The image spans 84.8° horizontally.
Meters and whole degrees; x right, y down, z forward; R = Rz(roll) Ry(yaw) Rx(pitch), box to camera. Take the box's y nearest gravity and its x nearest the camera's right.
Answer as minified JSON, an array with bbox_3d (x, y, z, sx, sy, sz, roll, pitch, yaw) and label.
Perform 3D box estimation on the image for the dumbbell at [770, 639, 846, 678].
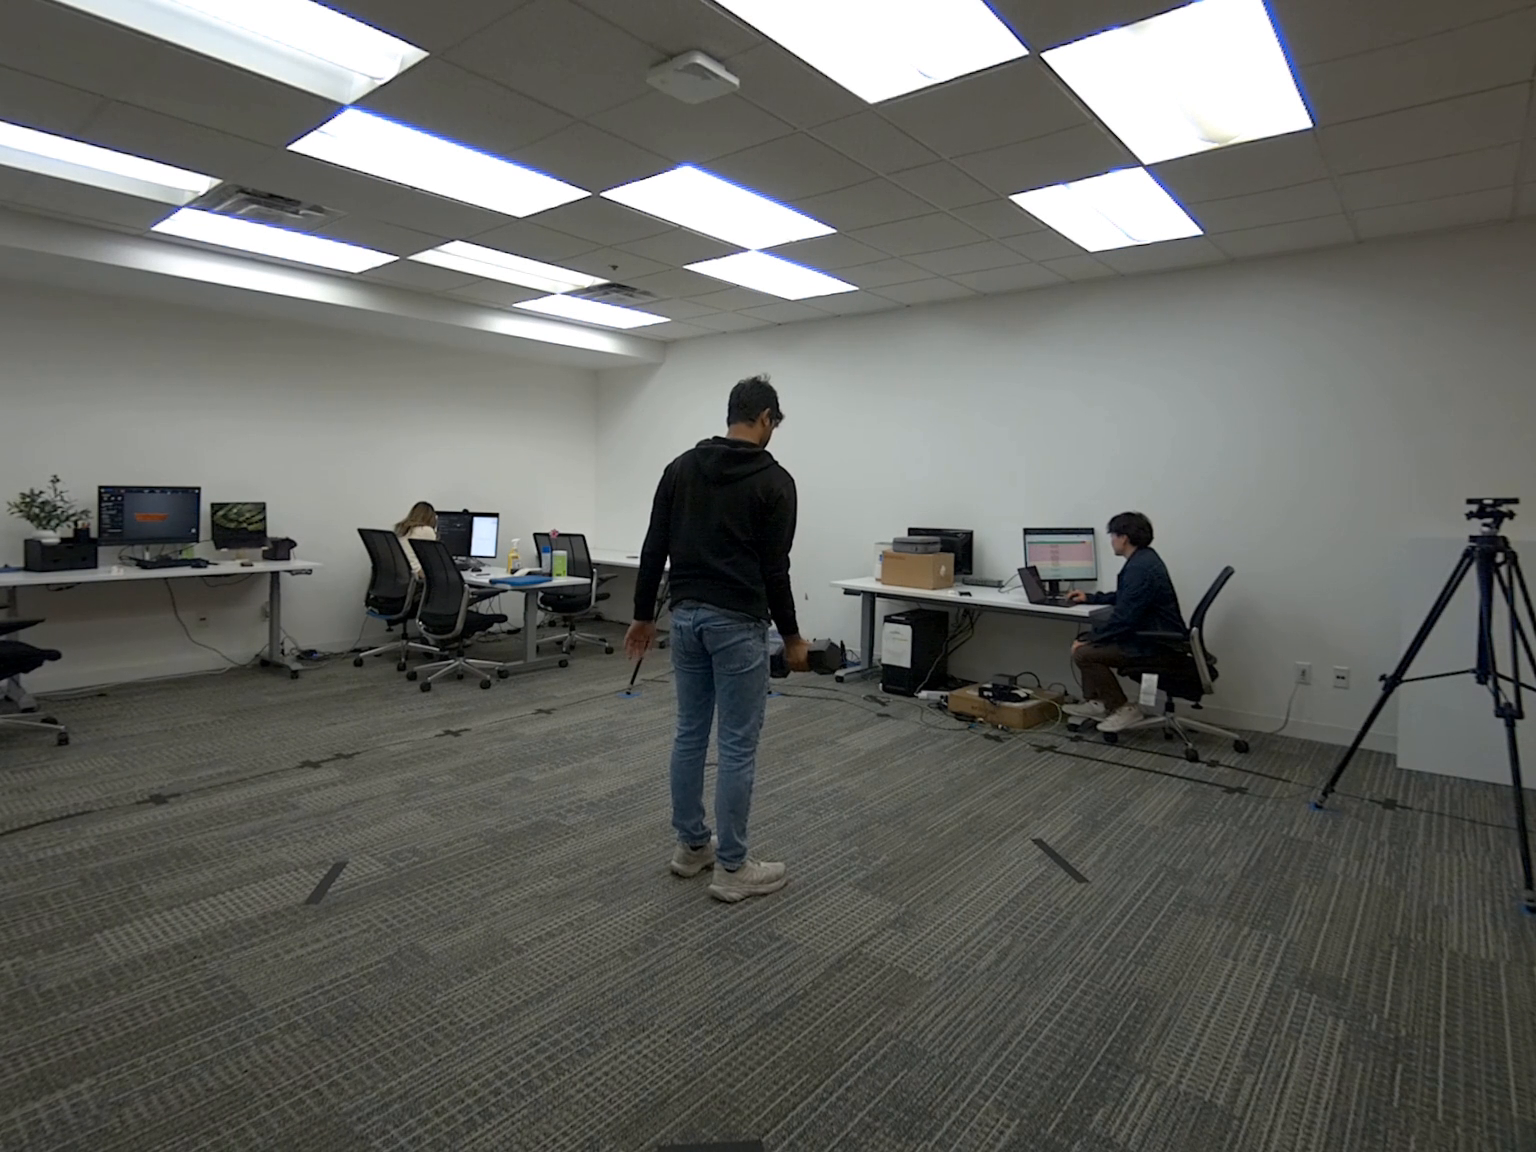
[{"bbox_3d":[0.115,0.282,3.034,0.301,0.123,0.106,-10,0,40],"label":"dumbbell"}]
